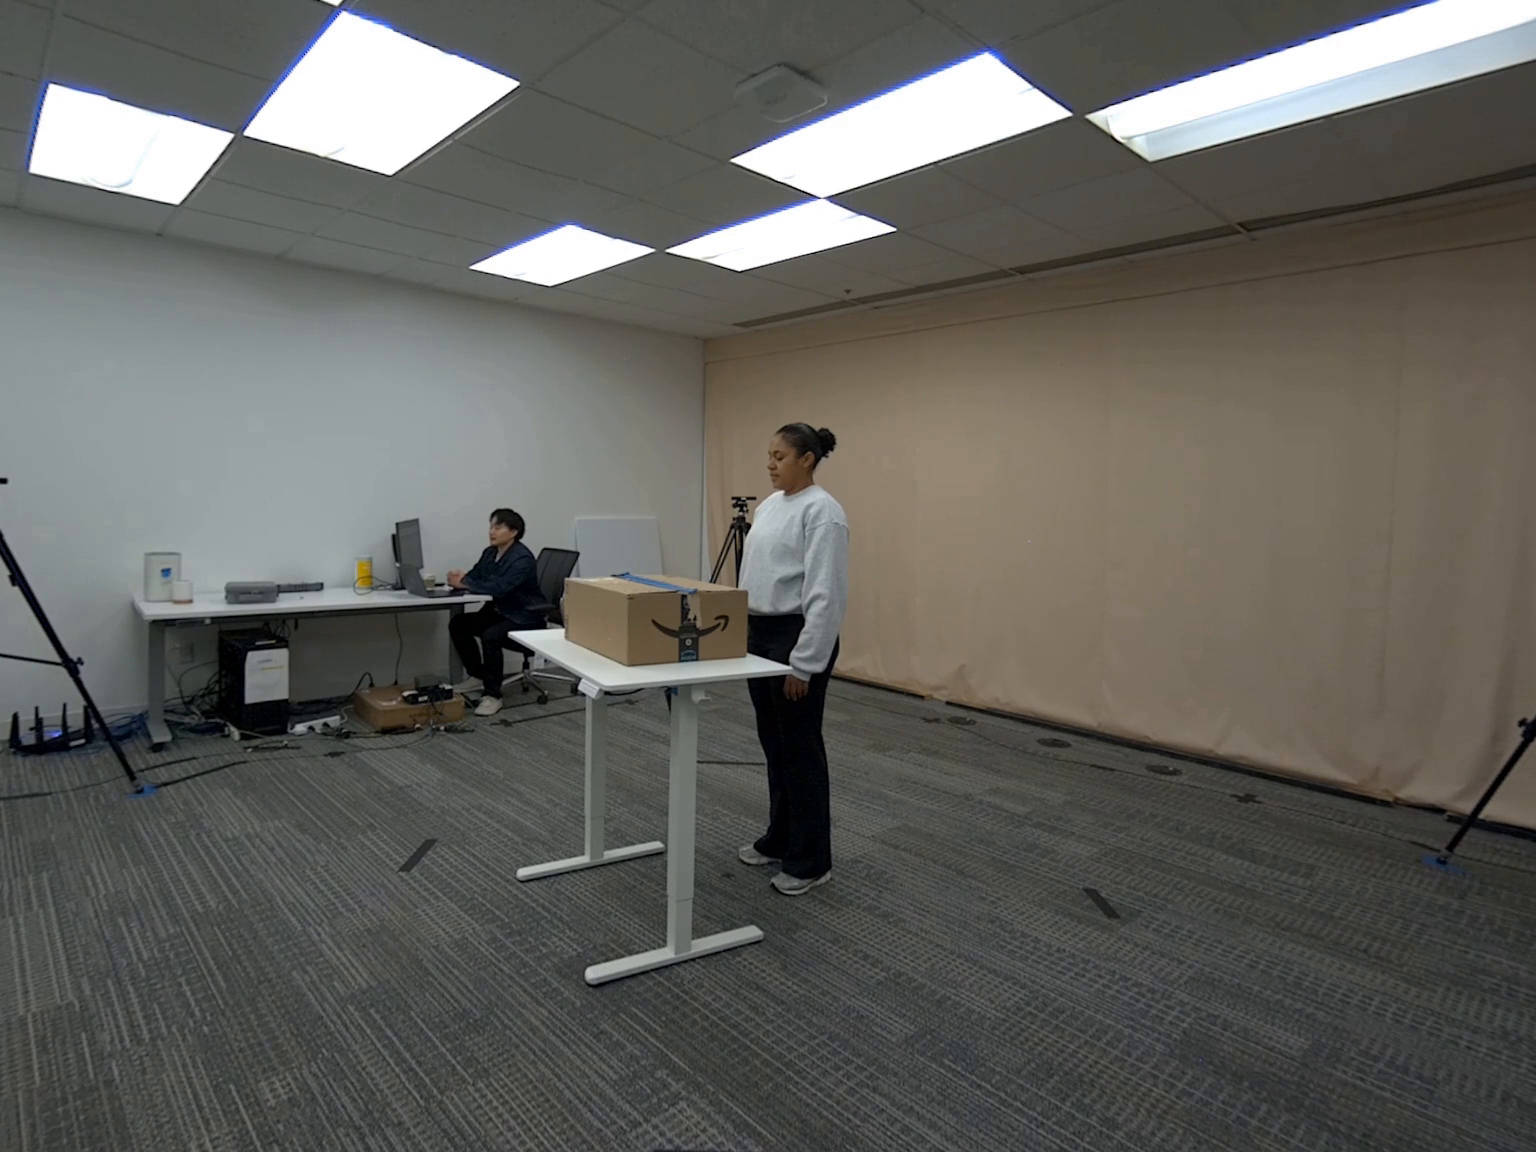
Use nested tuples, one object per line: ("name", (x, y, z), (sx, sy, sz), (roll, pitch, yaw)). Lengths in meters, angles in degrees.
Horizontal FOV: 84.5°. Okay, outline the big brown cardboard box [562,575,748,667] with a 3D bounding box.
("big brown cardboard box", (-0.402, 0.134, 2.828), (0.409, 0.232, 0.603), (-1, 6, -31))
